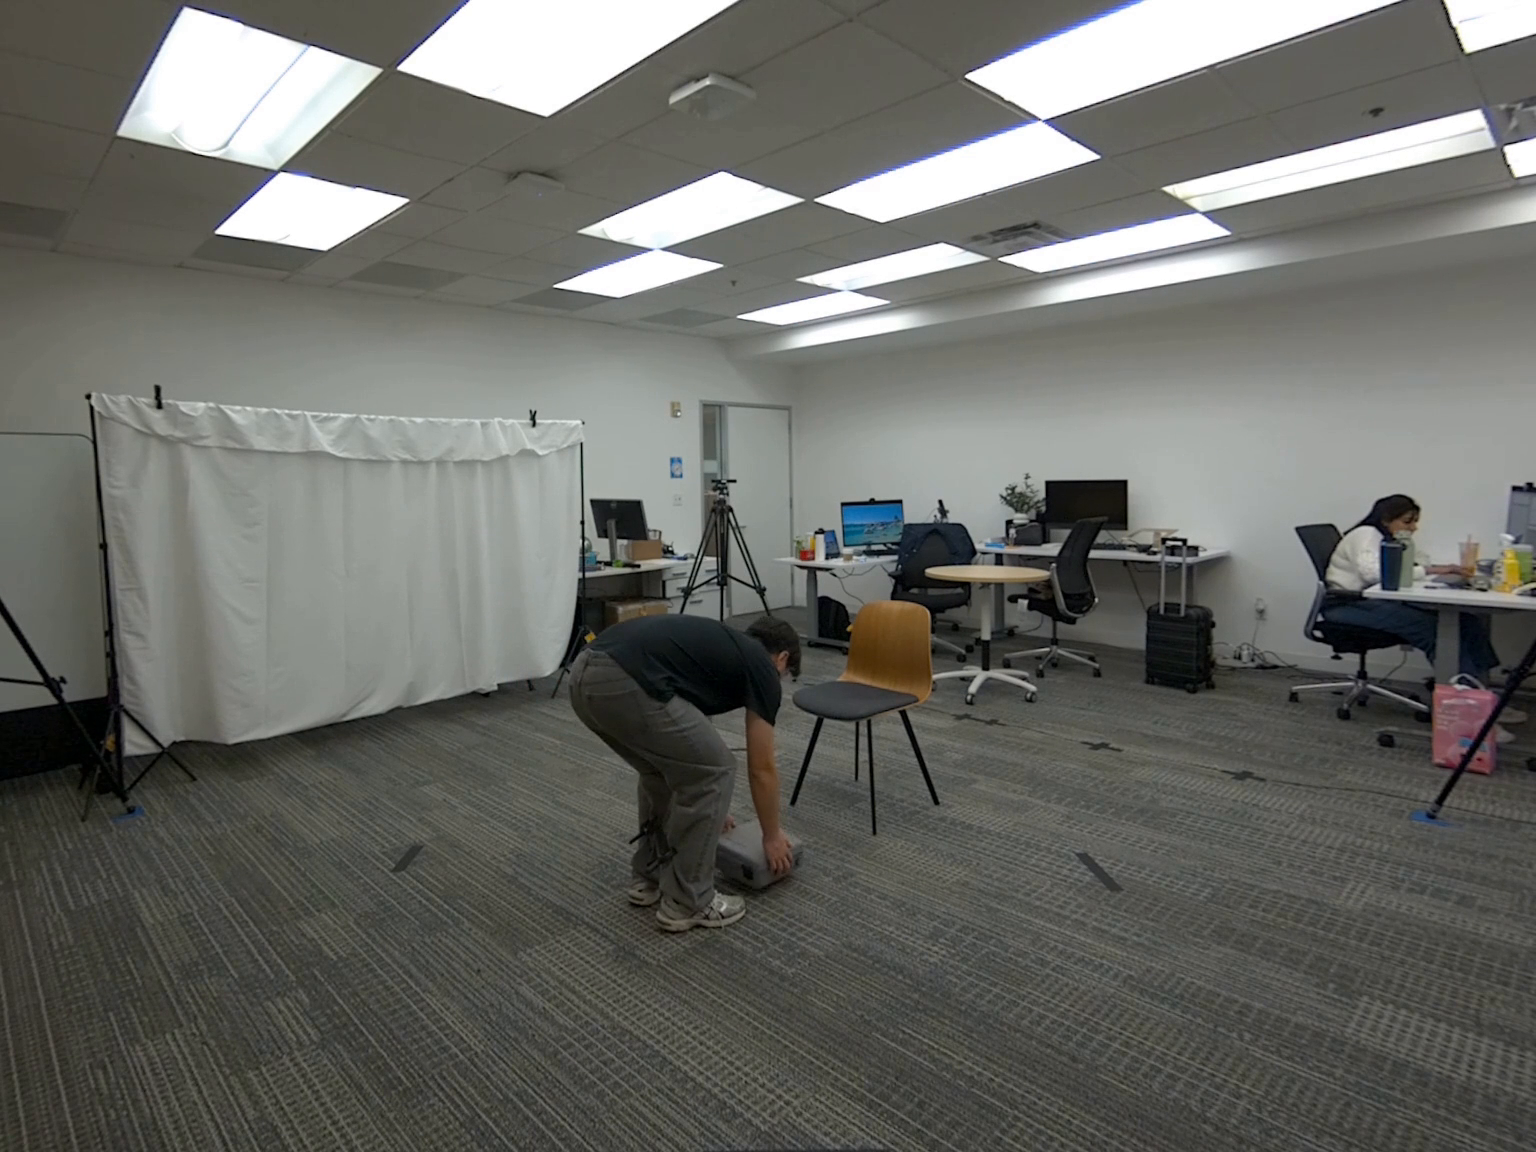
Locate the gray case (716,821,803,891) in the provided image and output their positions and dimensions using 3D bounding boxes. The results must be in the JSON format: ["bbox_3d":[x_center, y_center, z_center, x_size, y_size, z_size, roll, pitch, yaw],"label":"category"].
[{"bbox_3d":[-0.028,0.948,3.005,0.280,0.102,0.272,-9,12,-44],"label":"gray case"}]
